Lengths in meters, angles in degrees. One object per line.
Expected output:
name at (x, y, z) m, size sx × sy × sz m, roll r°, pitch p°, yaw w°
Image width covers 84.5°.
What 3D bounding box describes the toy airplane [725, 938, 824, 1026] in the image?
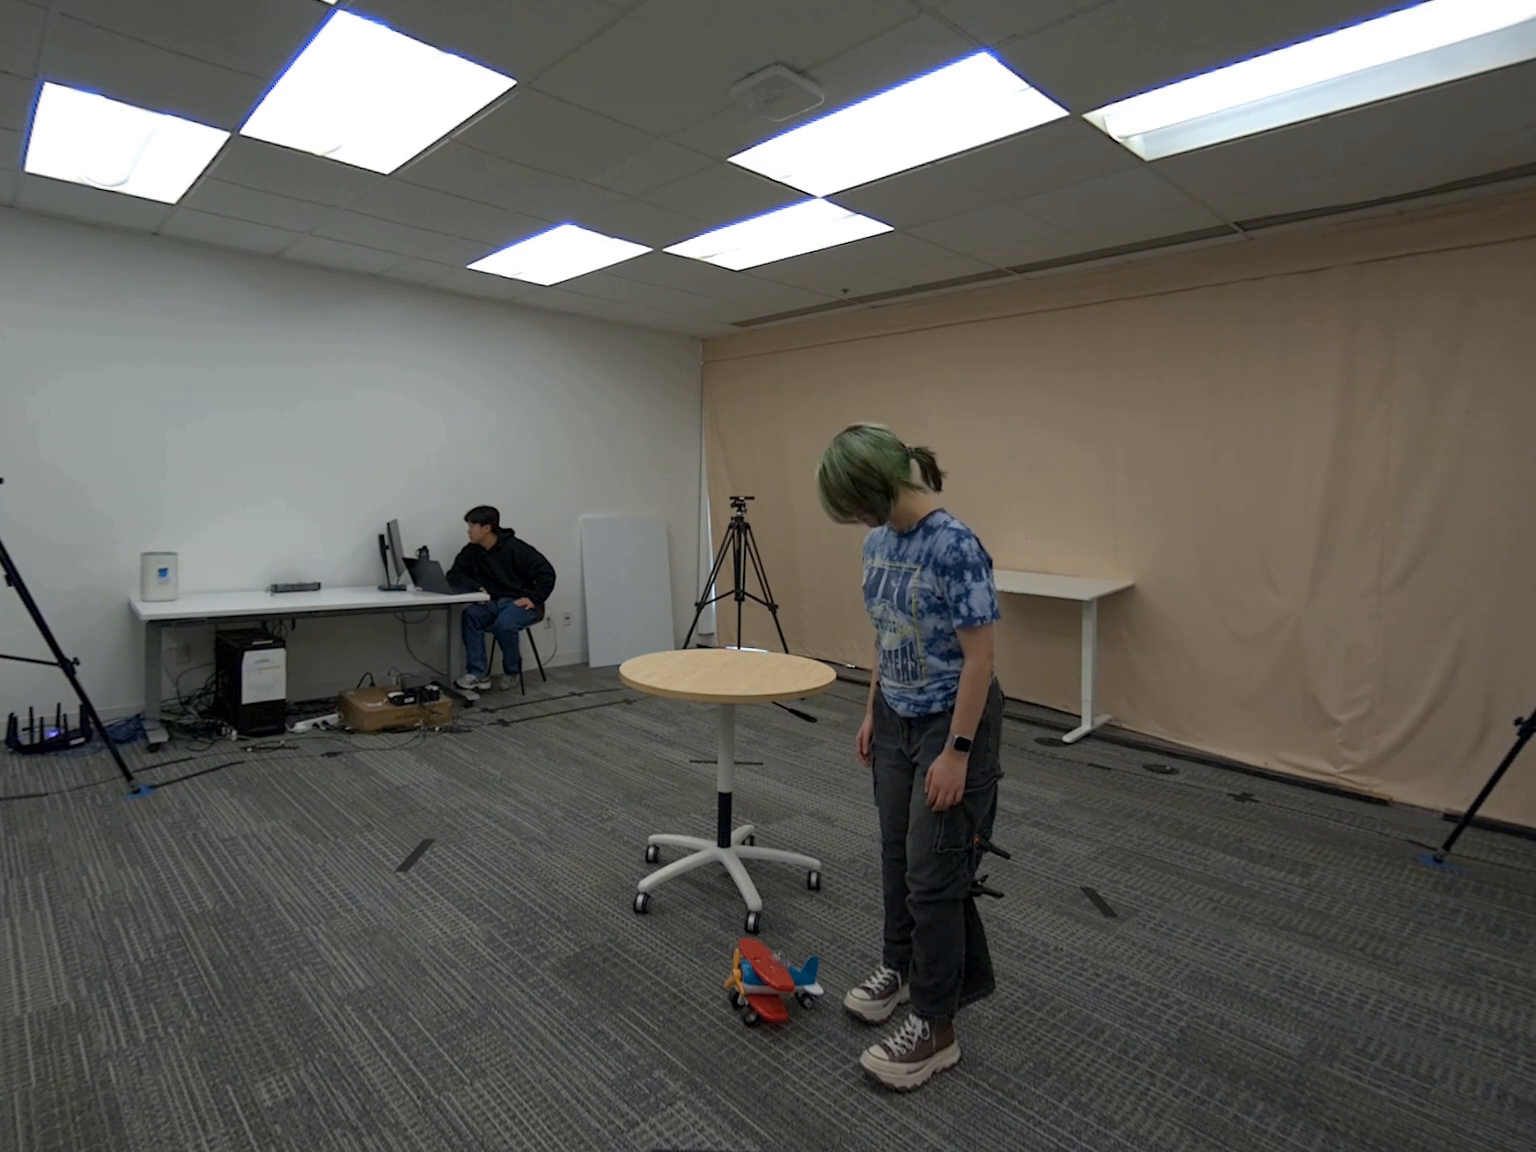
toy airplane at (0.009, 1.104, 2.307) m, size 0.257 × 0.156 × 0.254 m, roll 5°, pitch 7°, yaw 38°
